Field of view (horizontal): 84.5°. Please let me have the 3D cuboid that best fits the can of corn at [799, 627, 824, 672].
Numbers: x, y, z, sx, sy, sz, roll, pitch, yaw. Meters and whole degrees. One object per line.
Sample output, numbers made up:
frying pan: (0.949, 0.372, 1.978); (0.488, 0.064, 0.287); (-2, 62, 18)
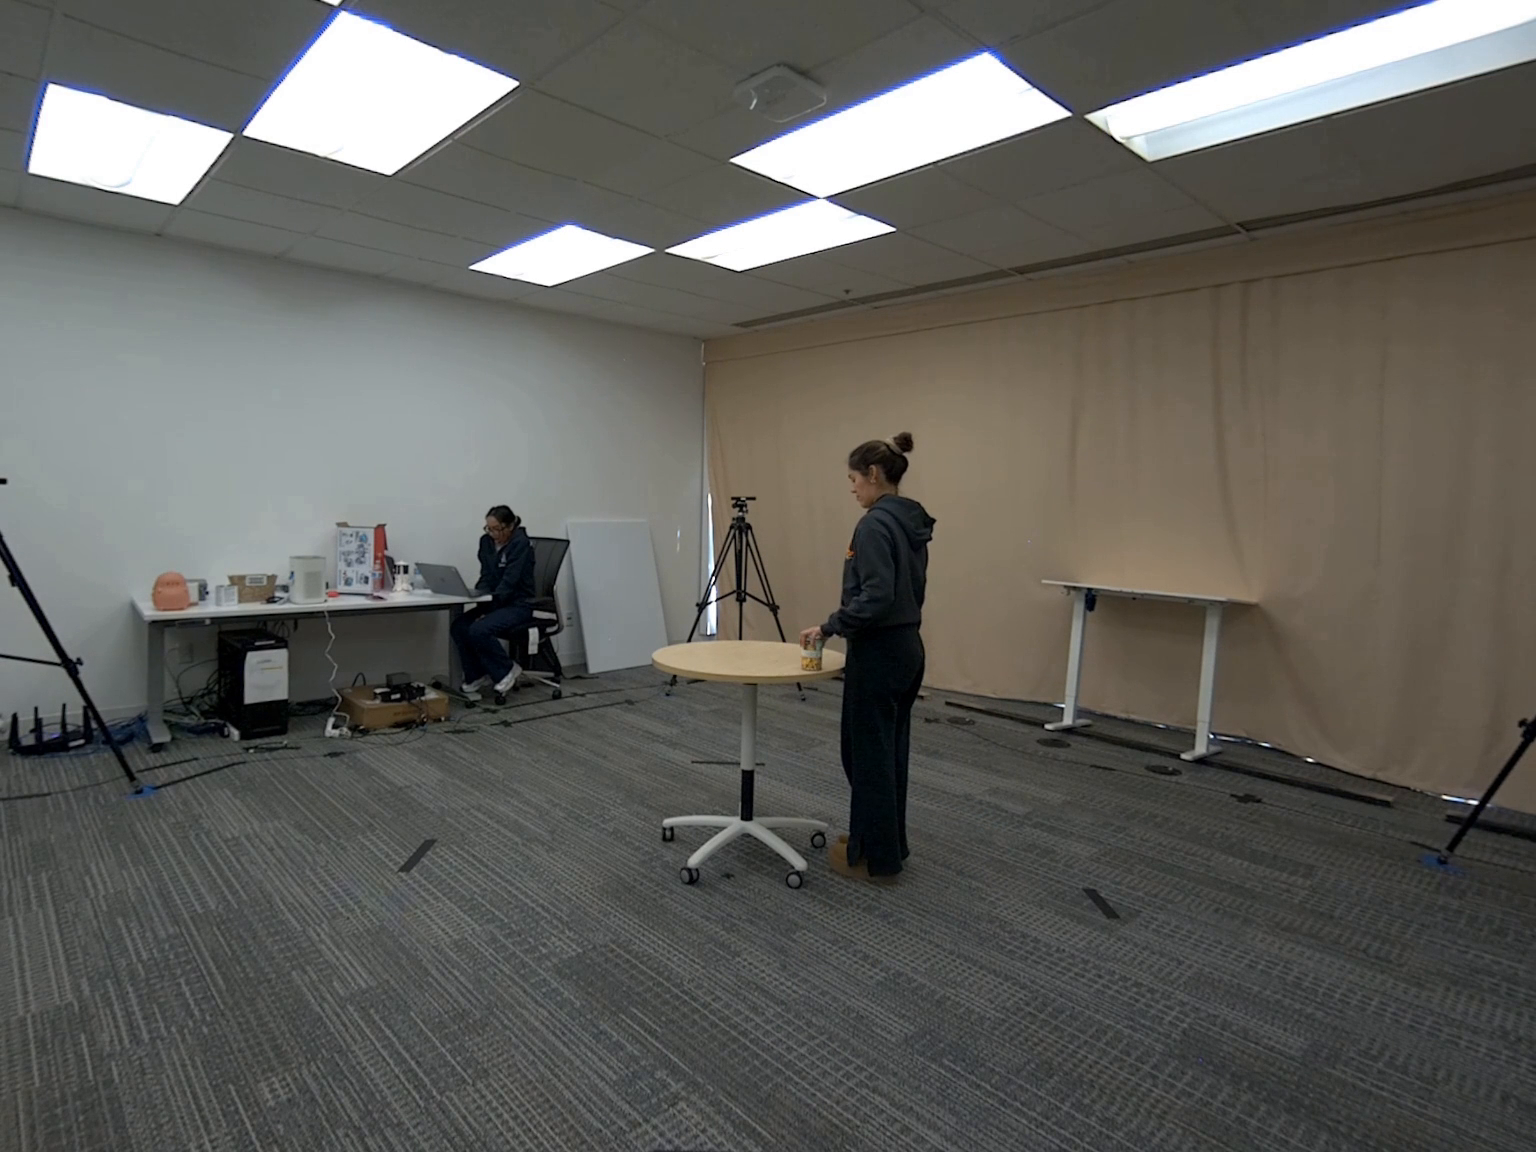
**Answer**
can of corn: (0.150, 0.270, 3.043); (0.074, 0.110, 0.075); (3, 9, -2)
